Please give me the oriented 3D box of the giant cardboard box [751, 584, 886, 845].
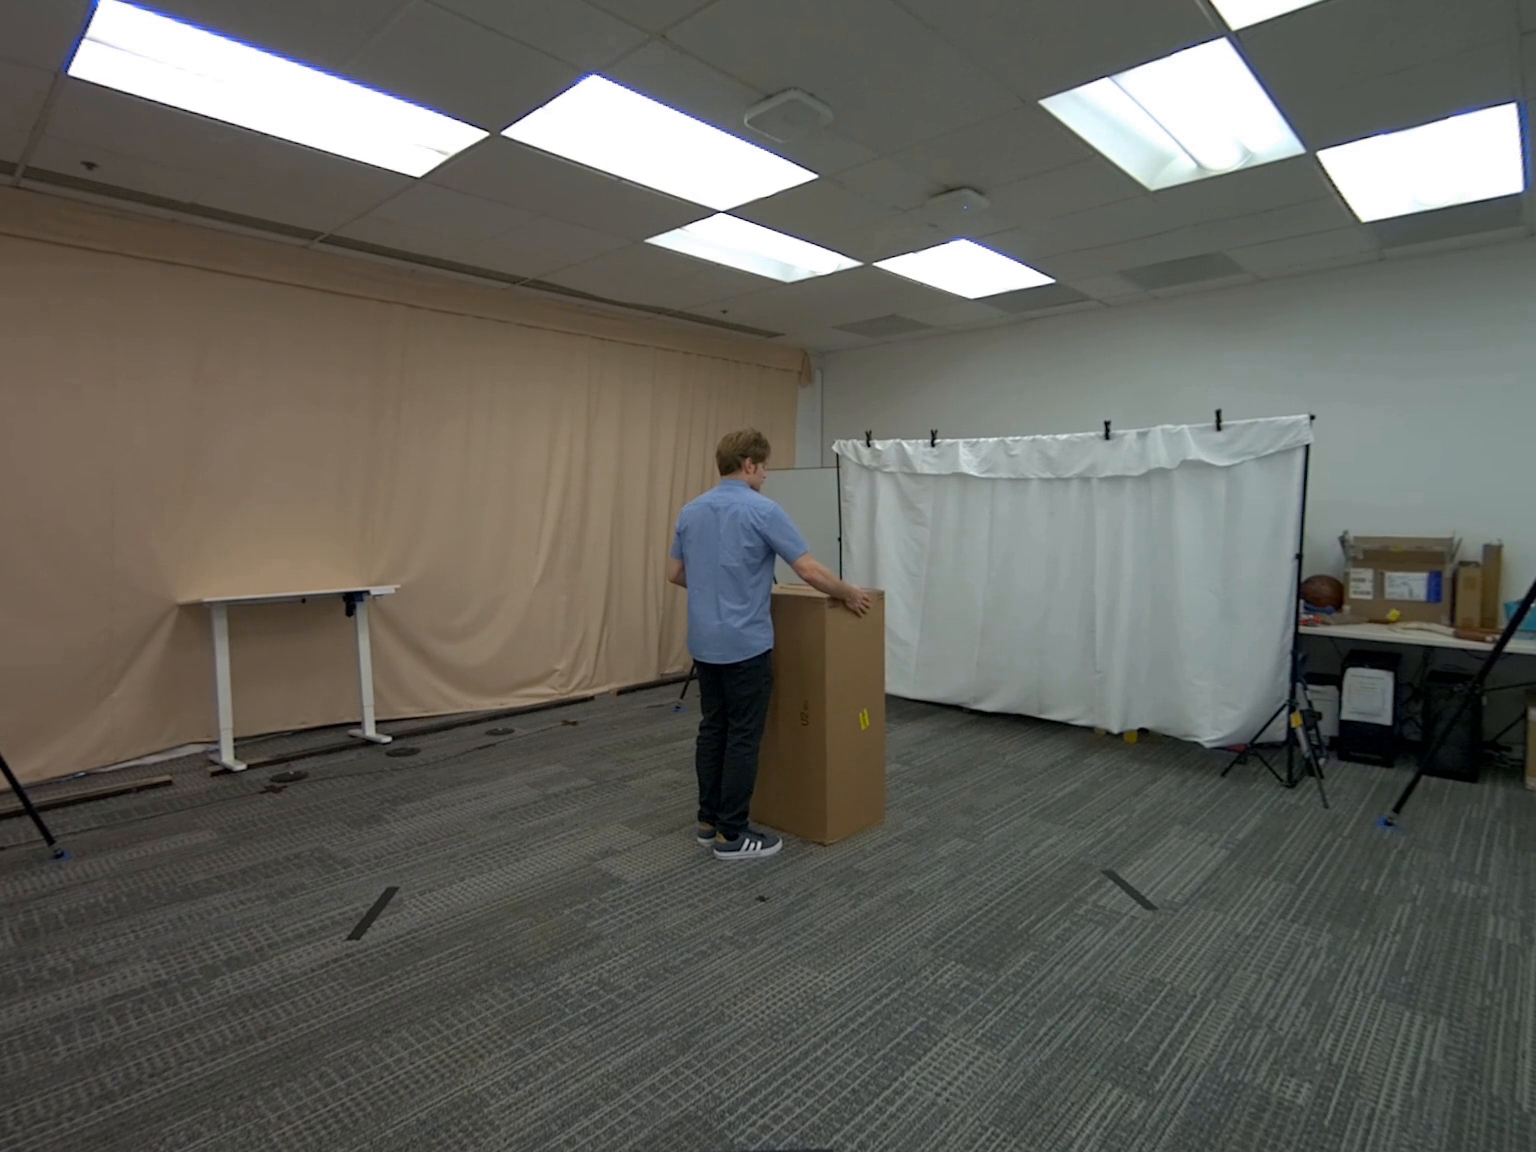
[{"bbox_3d":[0.172,0.570,3.775,0.596,1.024,0.413,2,3,44],"label":"giant cardboard box"}]
